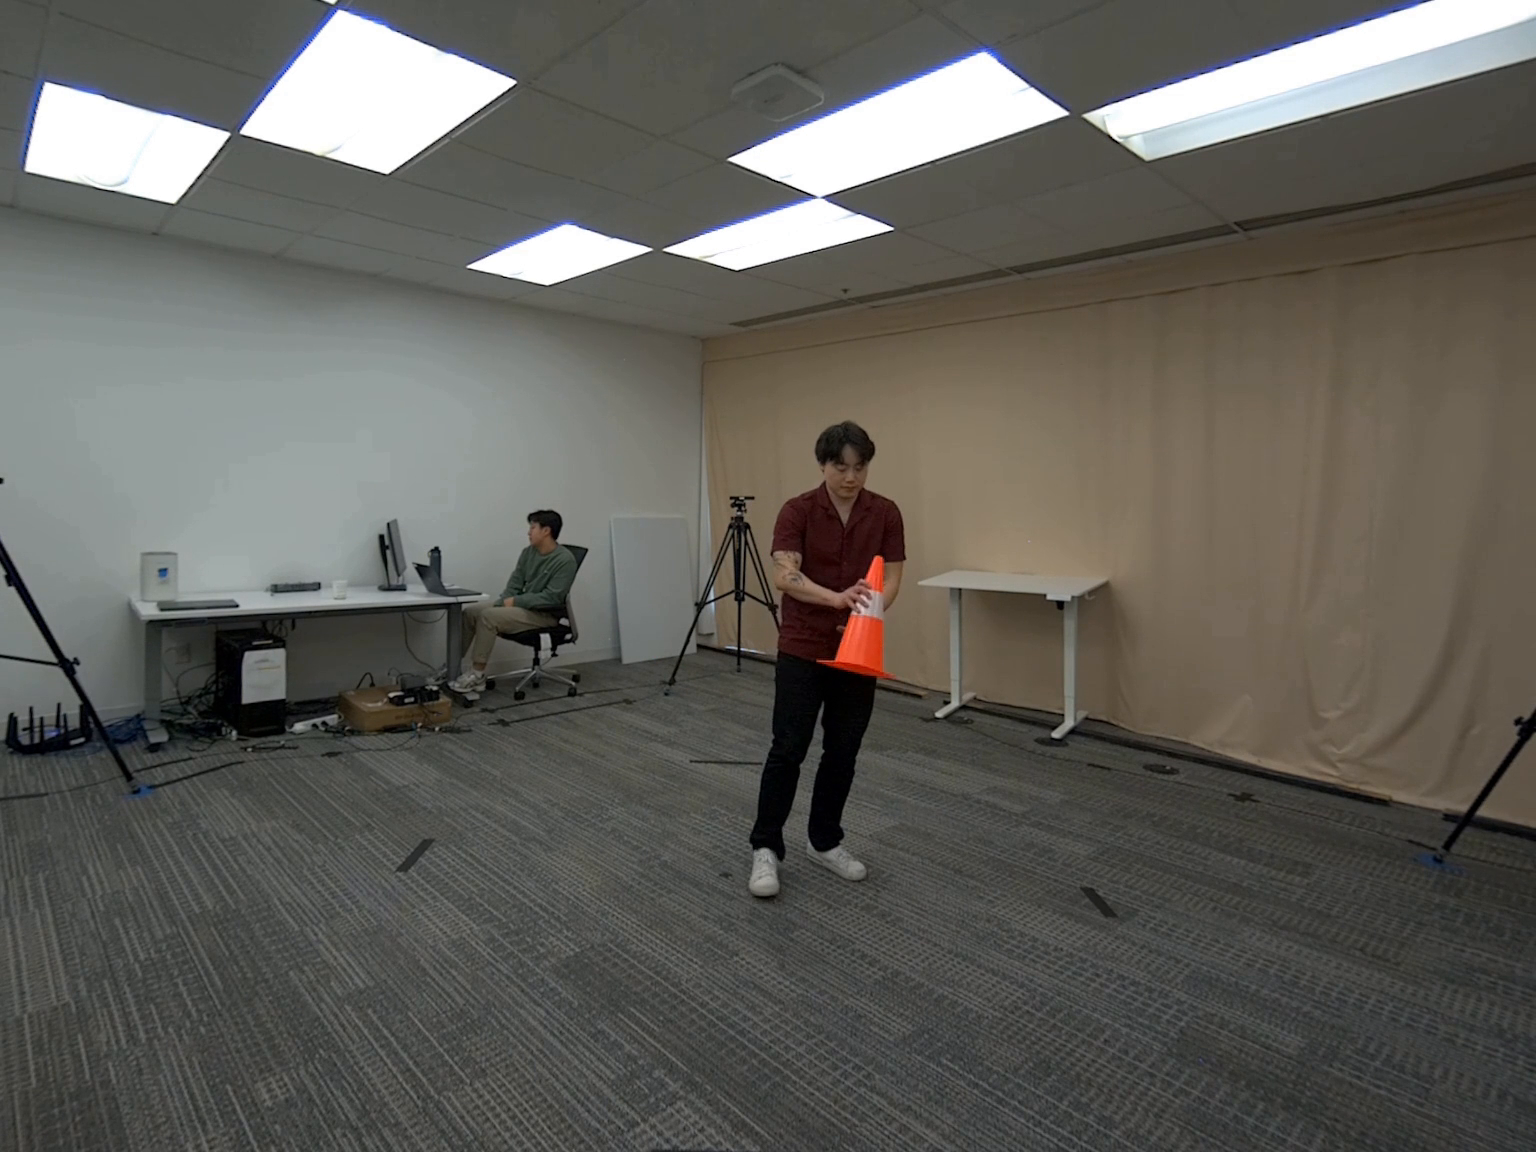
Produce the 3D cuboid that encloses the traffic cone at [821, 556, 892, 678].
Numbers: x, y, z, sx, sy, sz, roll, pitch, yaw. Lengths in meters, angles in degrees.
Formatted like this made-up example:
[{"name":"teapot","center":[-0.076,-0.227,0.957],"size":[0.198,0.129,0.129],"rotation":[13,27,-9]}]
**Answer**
[{"name":"traffic cone","center":[0.314,0.122,2.736],"size":[0.197,0.386,0.209],"rotation":[20,-16,-38]}]
